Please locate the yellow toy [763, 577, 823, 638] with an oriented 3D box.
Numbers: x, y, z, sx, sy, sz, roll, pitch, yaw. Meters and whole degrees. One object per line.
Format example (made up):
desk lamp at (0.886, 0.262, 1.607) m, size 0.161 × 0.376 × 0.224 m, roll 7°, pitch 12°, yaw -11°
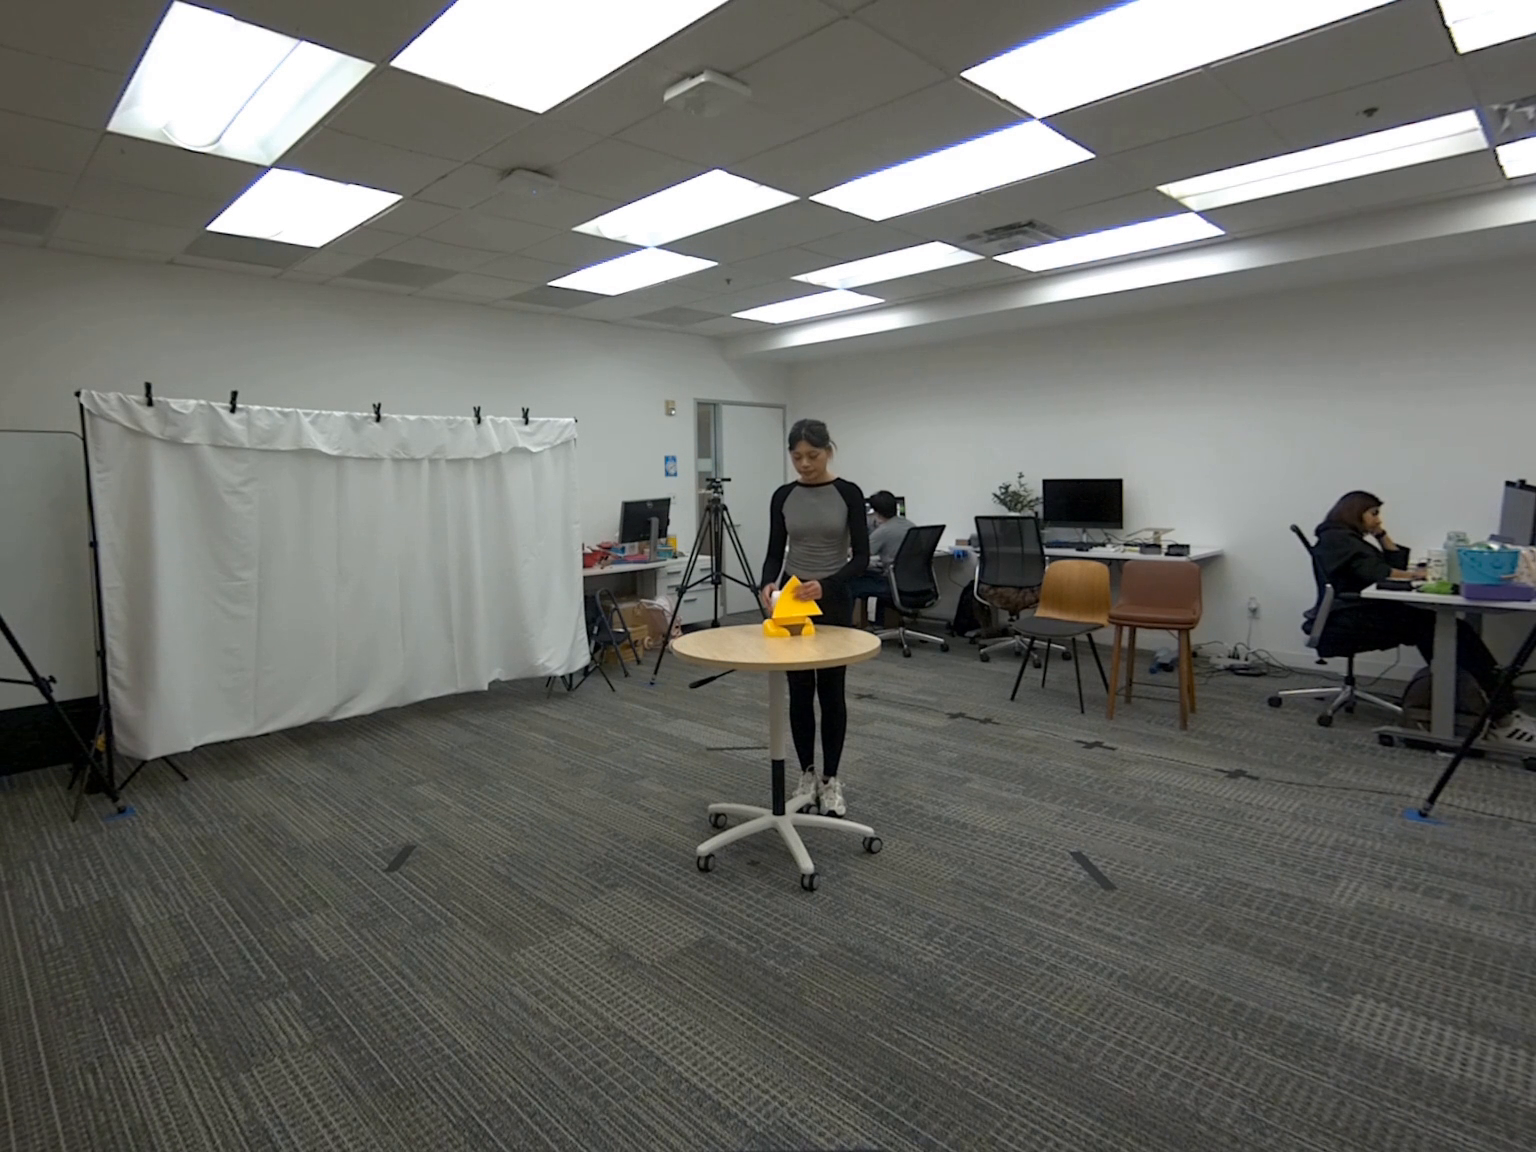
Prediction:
yellow toy at (0.079, 0.110, 3.317) m, size 0.201 × 0.230 × 0.197 m, roll -3°, pitch 4°, yaw -21°
